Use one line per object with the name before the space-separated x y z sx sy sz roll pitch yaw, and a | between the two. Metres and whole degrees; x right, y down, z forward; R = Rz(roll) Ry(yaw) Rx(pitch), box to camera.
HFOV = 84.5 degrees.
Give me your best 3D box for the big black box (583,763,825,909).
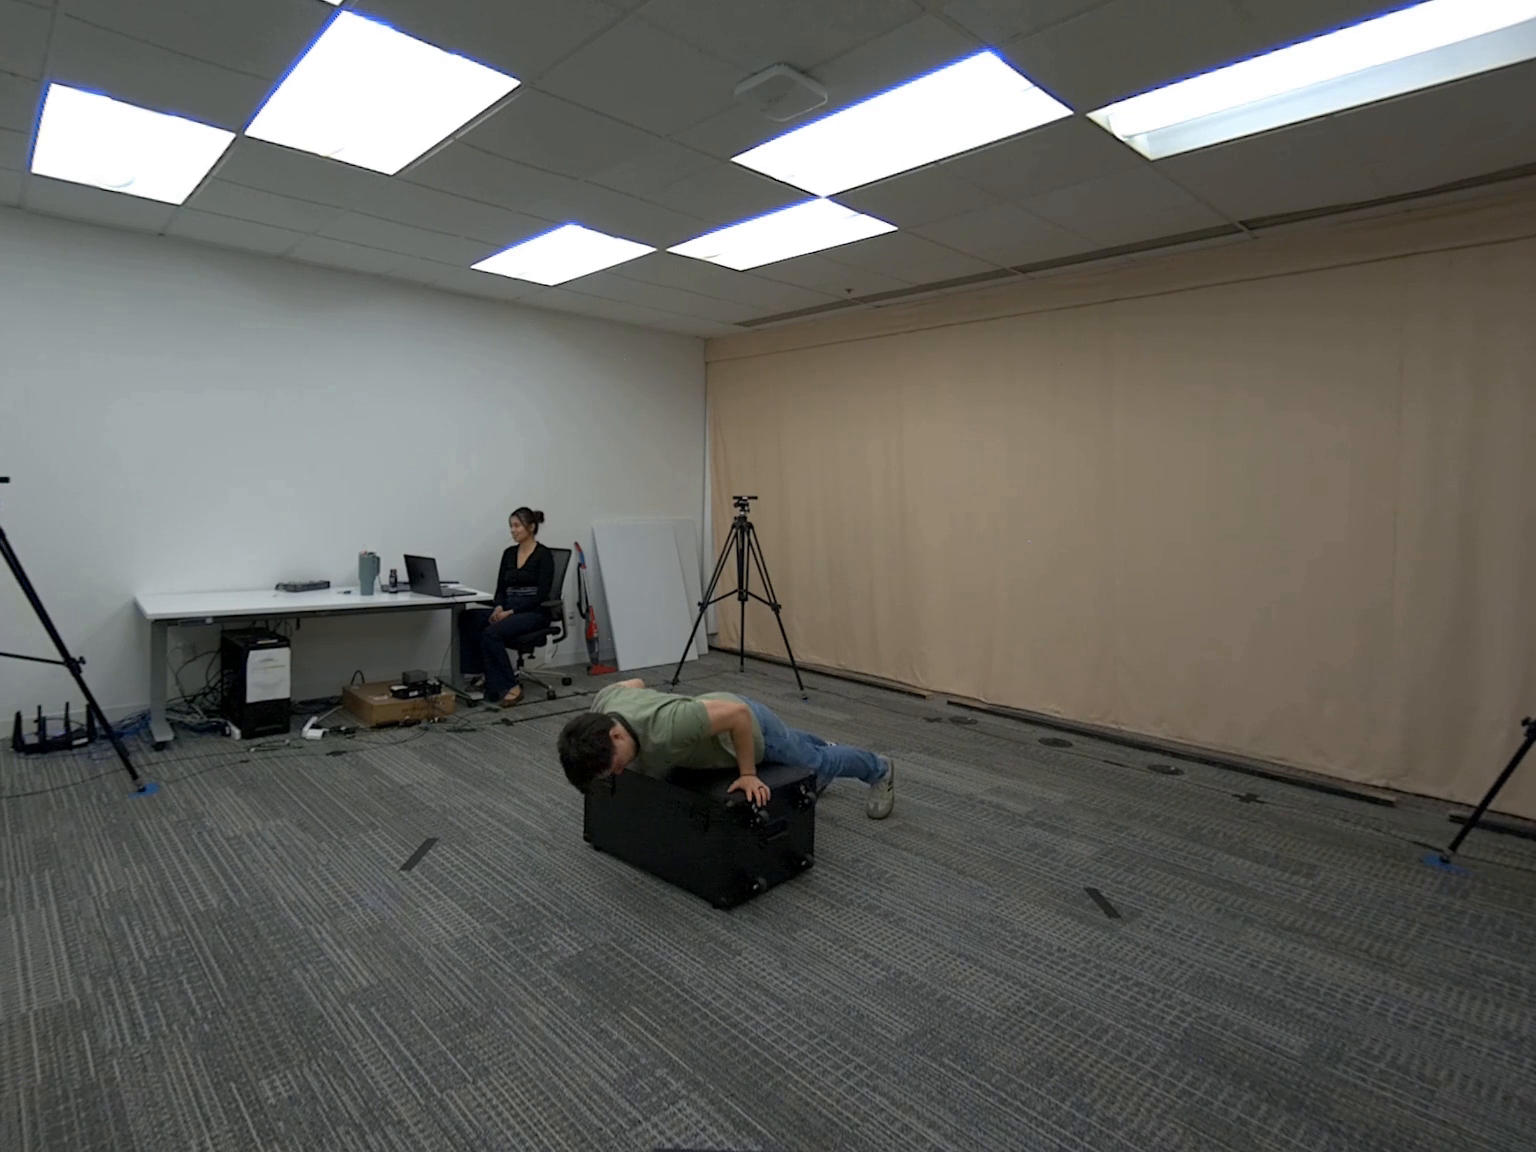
big black box | -0.255 0.907 3.199 0.883 0.395 0.509 3 5 41
